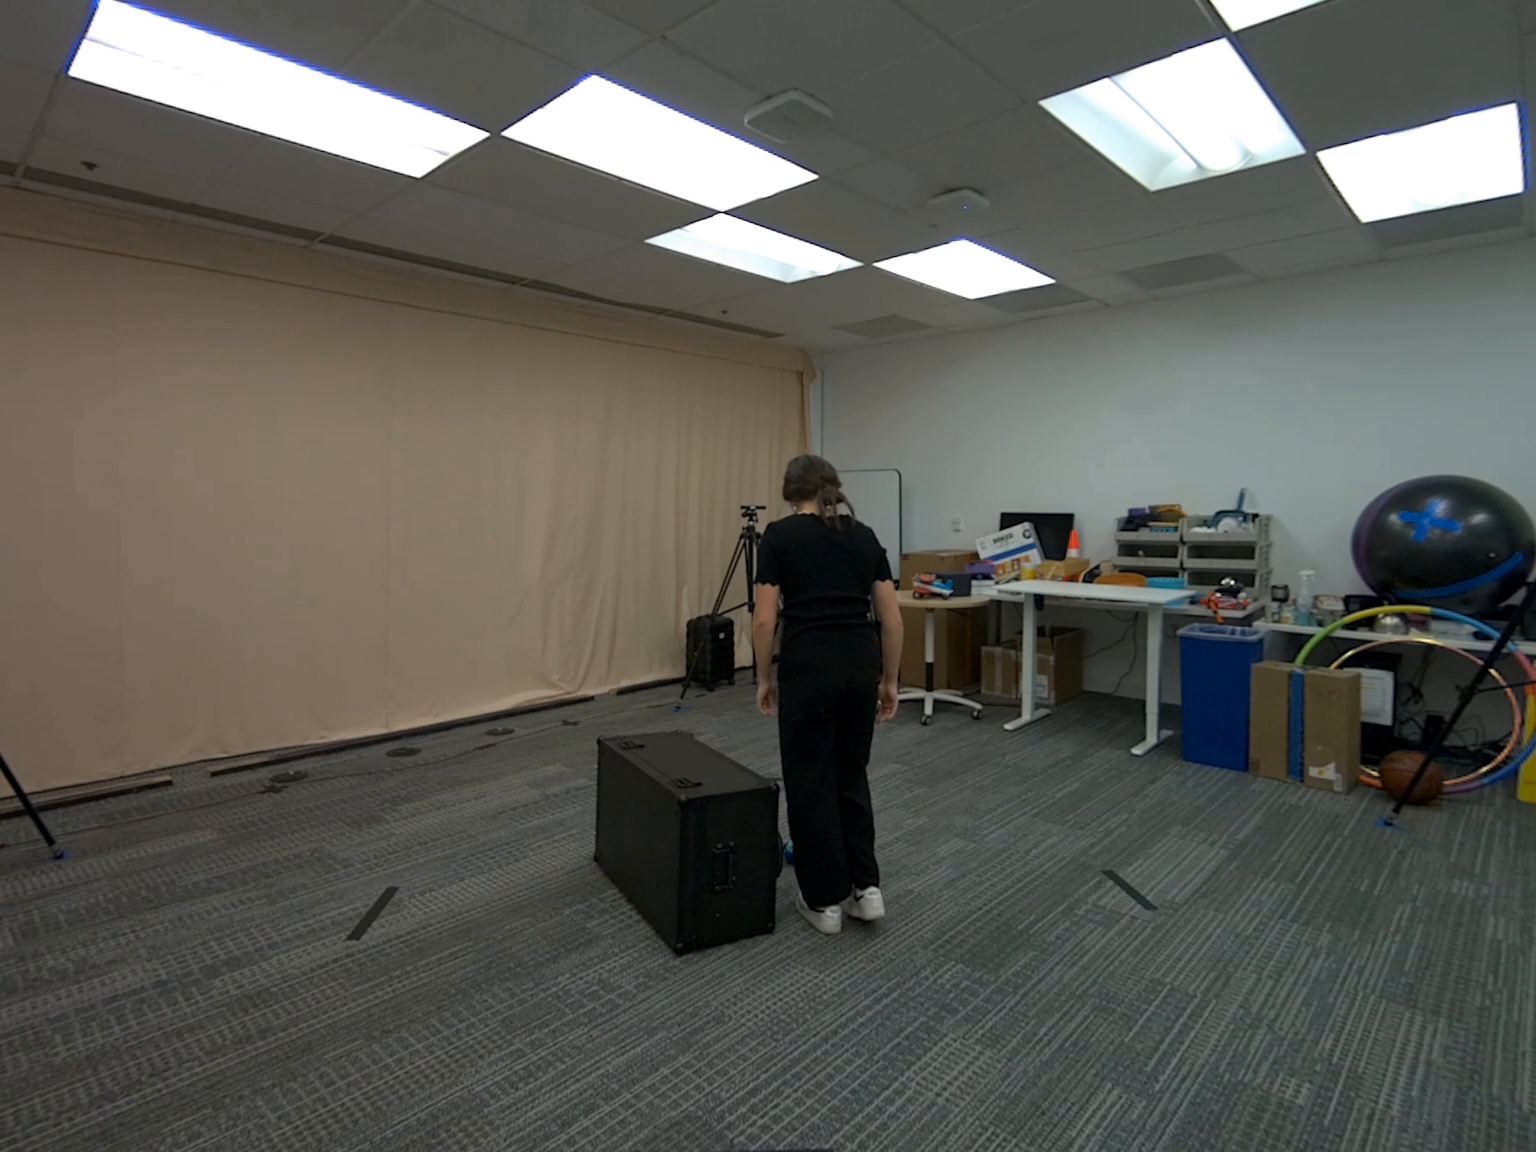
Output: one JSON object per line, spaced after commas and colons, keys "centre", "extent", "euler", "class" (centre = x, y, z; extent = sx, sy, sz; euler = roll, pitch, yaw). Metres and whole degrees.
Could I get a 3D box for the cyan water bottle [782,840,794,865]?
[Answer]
{"centre": [0.197, 1.075, 3.241], "extent": [0.291, 0.092, 0.090], "euler": [2, 4, 29], "class": "cyan water bottle"}
